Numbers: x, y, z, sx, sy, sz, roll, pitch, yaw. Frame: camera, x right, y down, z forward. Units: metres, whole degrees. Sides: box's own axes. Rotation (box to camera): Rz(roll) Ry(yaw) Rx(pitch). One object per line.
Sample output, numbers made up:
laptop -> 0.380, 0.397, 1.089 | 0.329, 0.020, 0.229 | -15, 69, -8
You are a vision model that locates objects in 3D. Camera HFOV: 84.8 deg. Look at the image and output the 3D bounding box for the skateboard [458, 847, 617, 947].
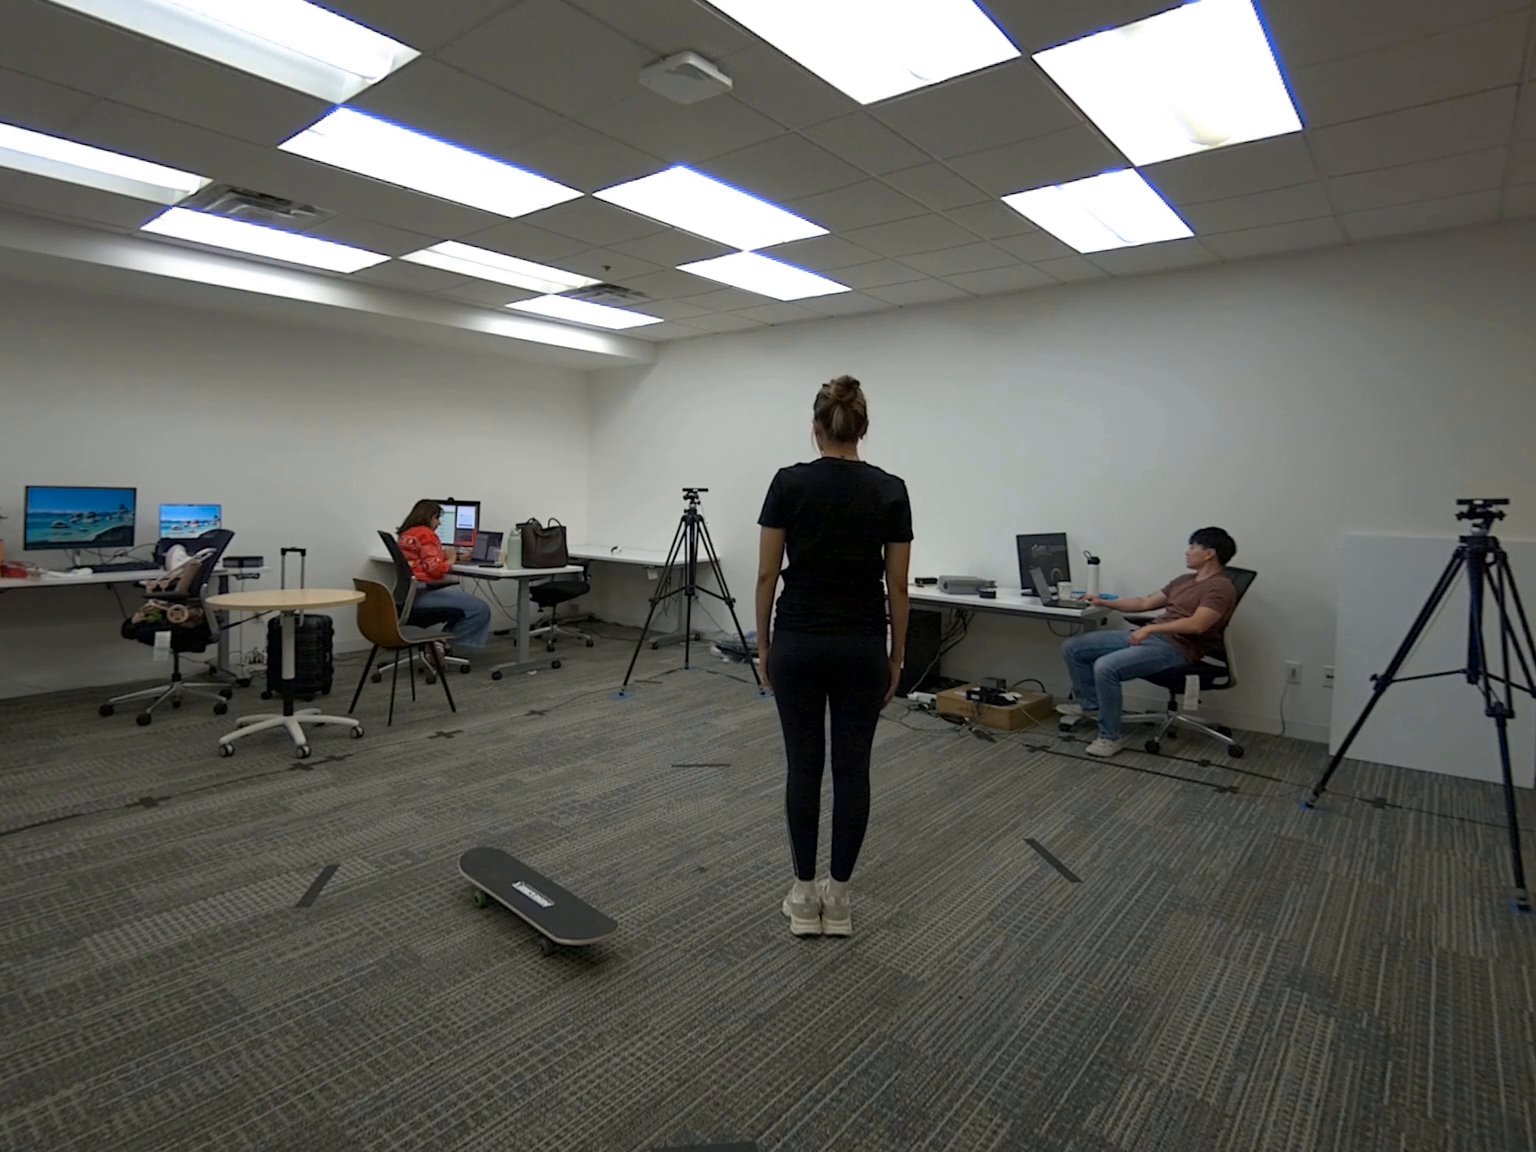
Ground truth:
skateboard -> -0.761, 1.043, 2.711 | 0.812, 0.110, 0.187 | 6, 6, 44
